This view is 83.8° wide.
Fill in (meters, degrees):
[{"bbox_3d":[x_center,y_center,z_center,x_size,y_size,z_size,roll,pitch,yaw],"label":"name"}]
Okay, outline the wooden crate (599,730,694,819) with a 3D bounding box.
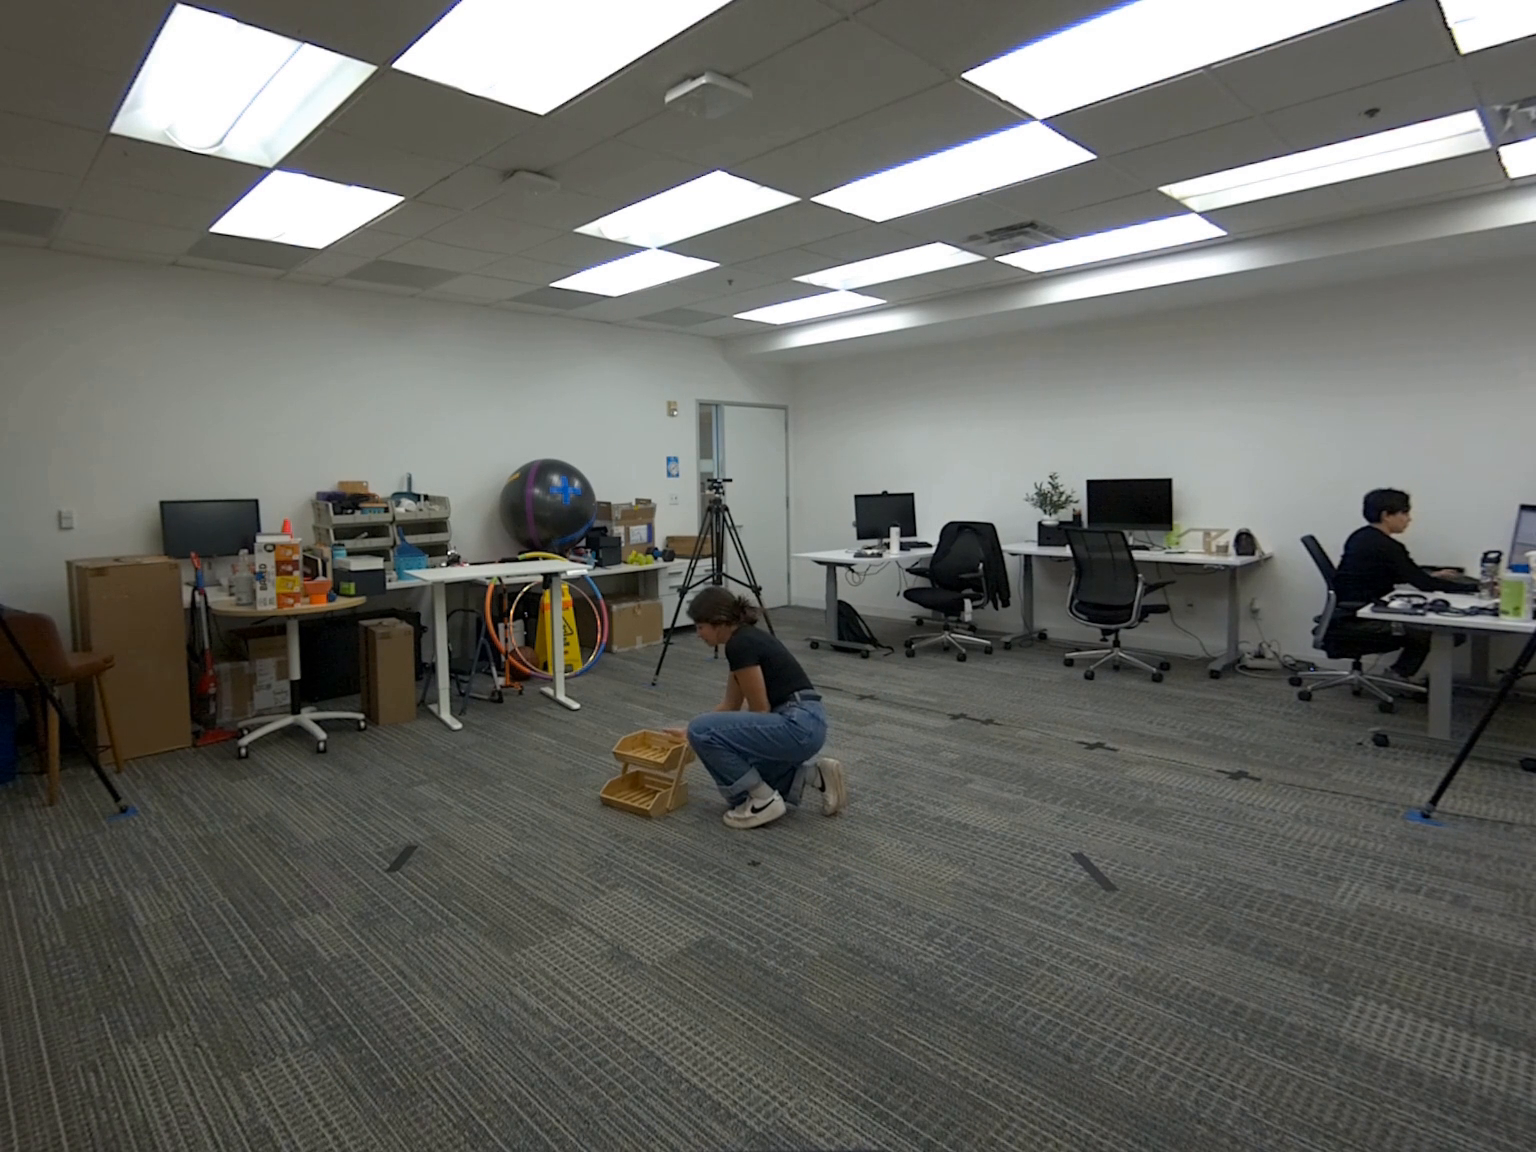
[{"bbox_3d":[-0.527,0.850,3.720,0.334,0.272,0.294,2,5,37],"label":"wooden crate"}]
